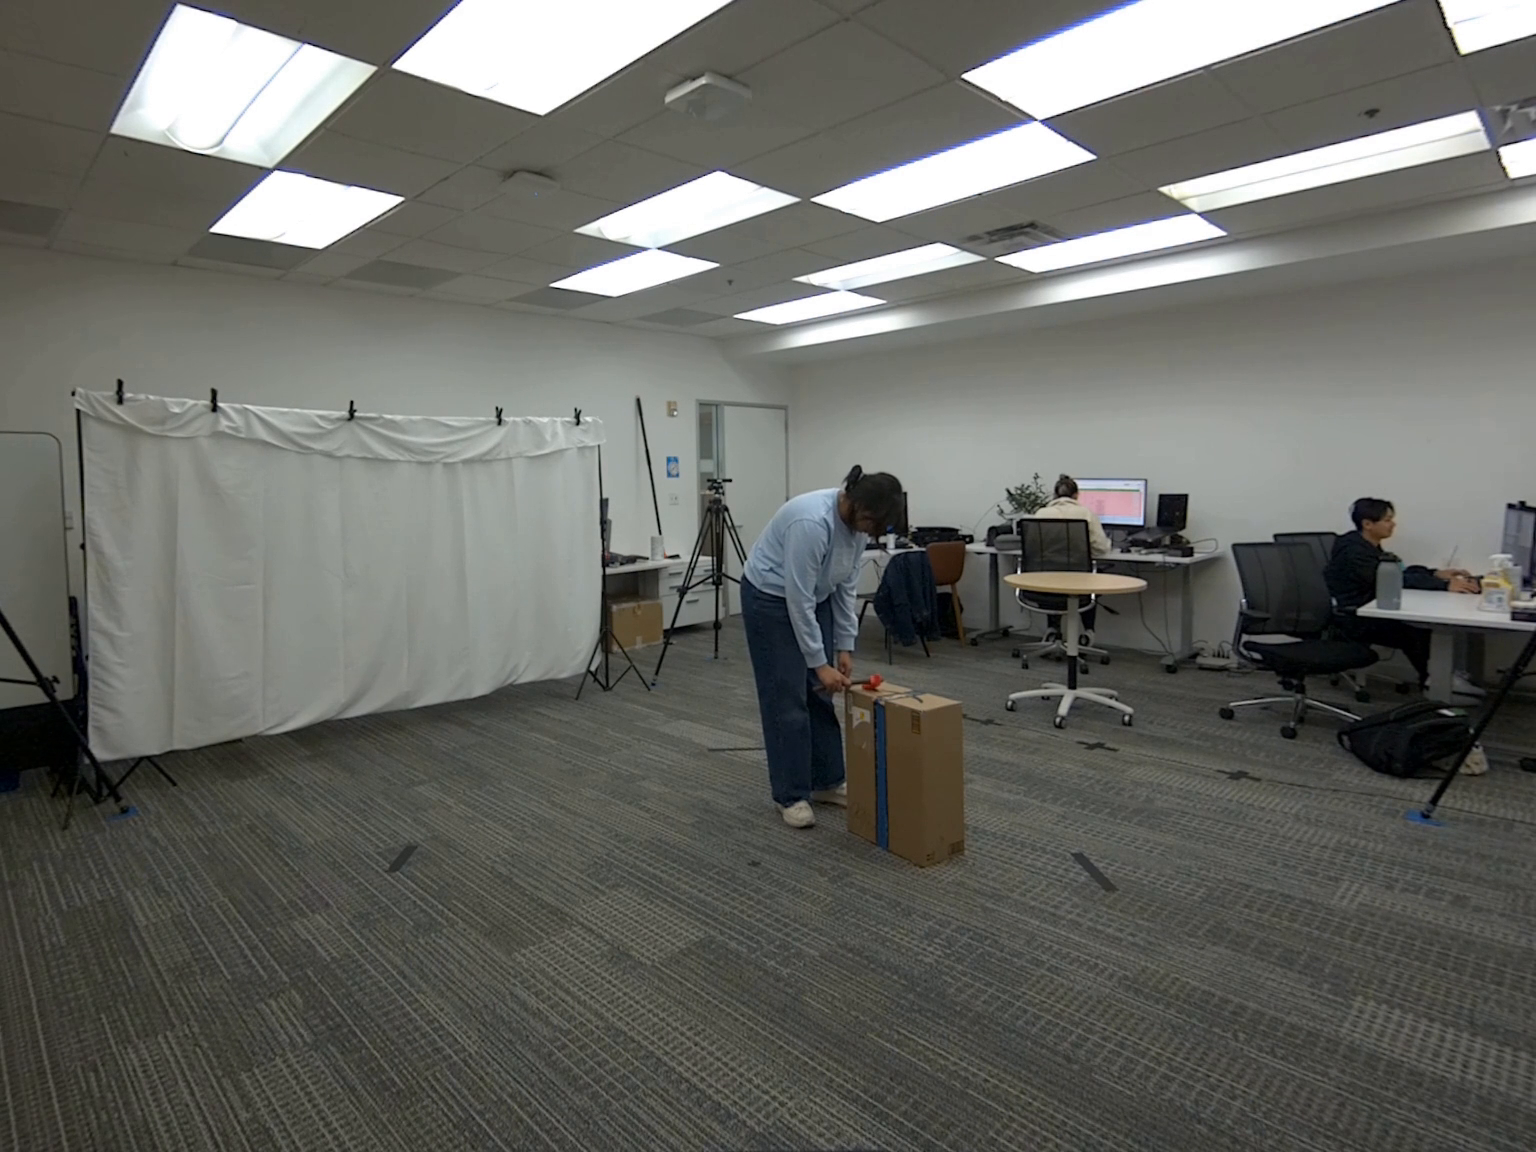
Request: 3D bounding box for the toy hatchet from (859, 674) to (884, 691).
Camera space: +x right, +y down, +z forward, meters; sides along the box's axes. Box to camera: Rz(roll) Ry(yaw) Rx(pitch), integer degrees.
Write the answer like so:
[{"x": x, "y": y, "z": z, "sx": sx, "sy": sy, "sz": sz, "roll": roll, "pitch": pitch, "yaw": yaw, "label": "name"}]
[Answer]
[{"x": 0.321, "y": 0.438, "z": 3.377, "sx": 0.273, "sy": 0.030, "sz": 0.126, "roll": -14, "pitch": -27, "yaw": 19, "label": "toy hatchet"}]
